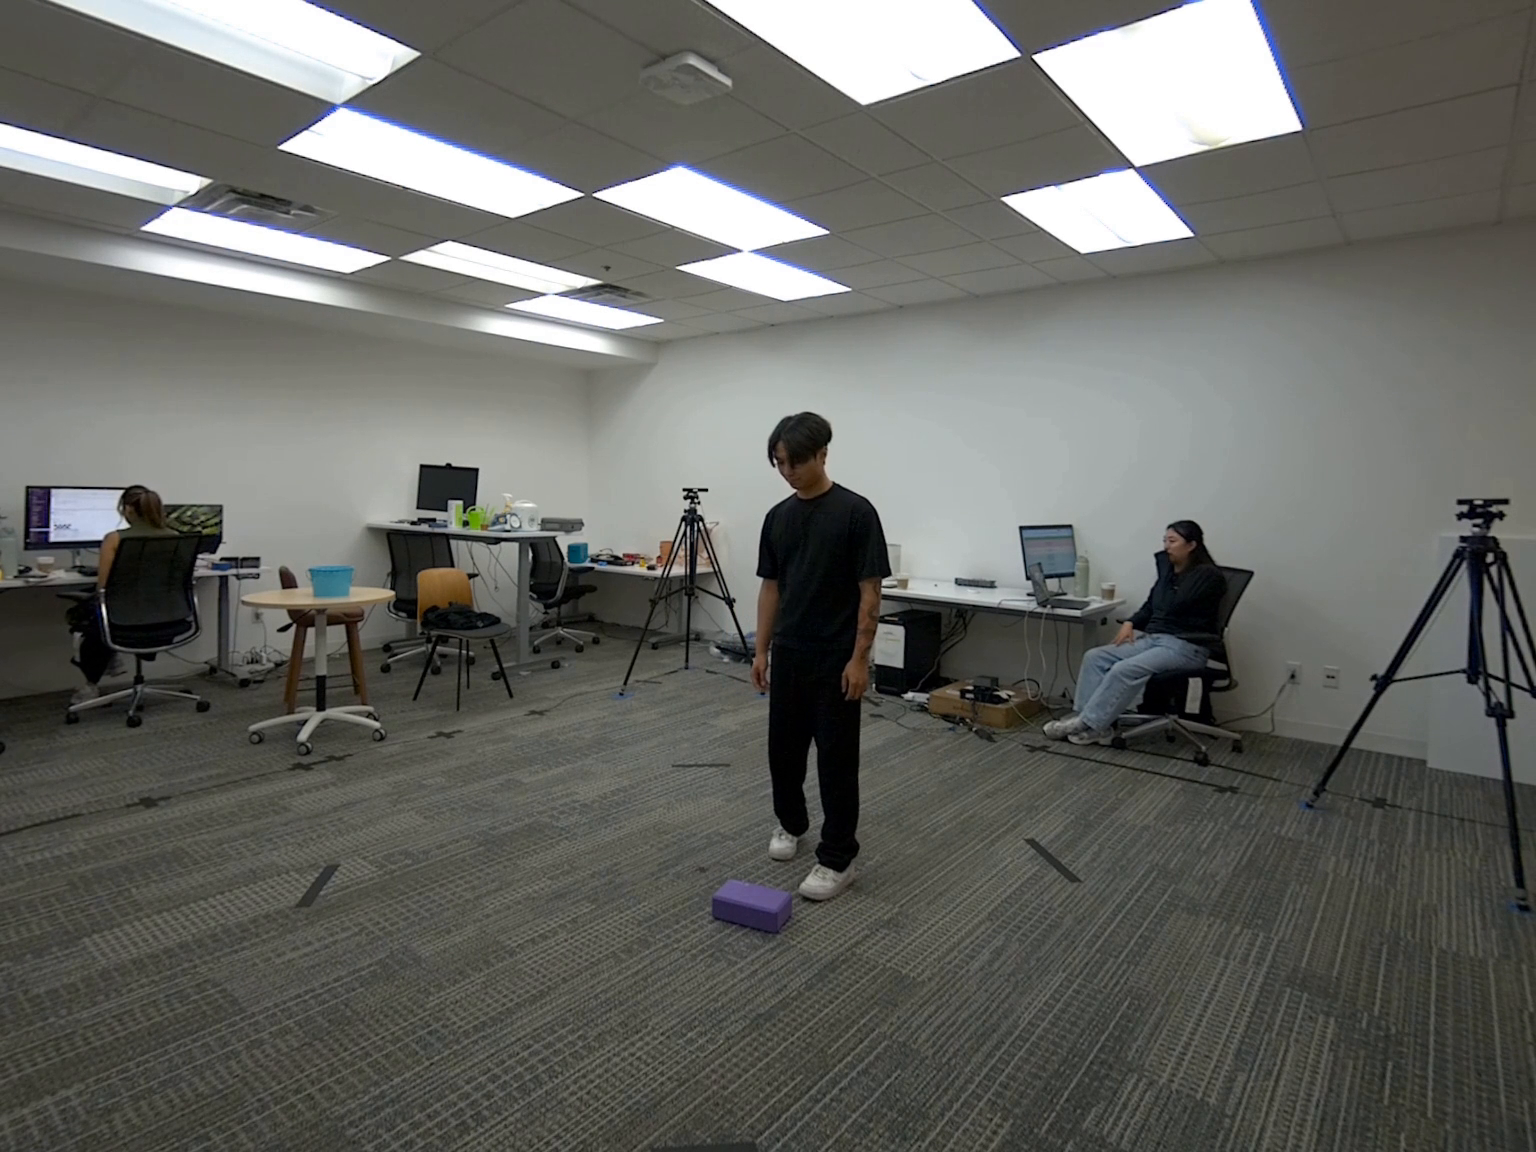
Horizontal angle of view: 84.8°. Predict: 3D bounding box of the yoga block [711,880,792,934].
[{"bbox_3d":[-0.058,1.066,2.764,0.235,0.076,0.146,4,5,23],"label":"yoga block"}]
